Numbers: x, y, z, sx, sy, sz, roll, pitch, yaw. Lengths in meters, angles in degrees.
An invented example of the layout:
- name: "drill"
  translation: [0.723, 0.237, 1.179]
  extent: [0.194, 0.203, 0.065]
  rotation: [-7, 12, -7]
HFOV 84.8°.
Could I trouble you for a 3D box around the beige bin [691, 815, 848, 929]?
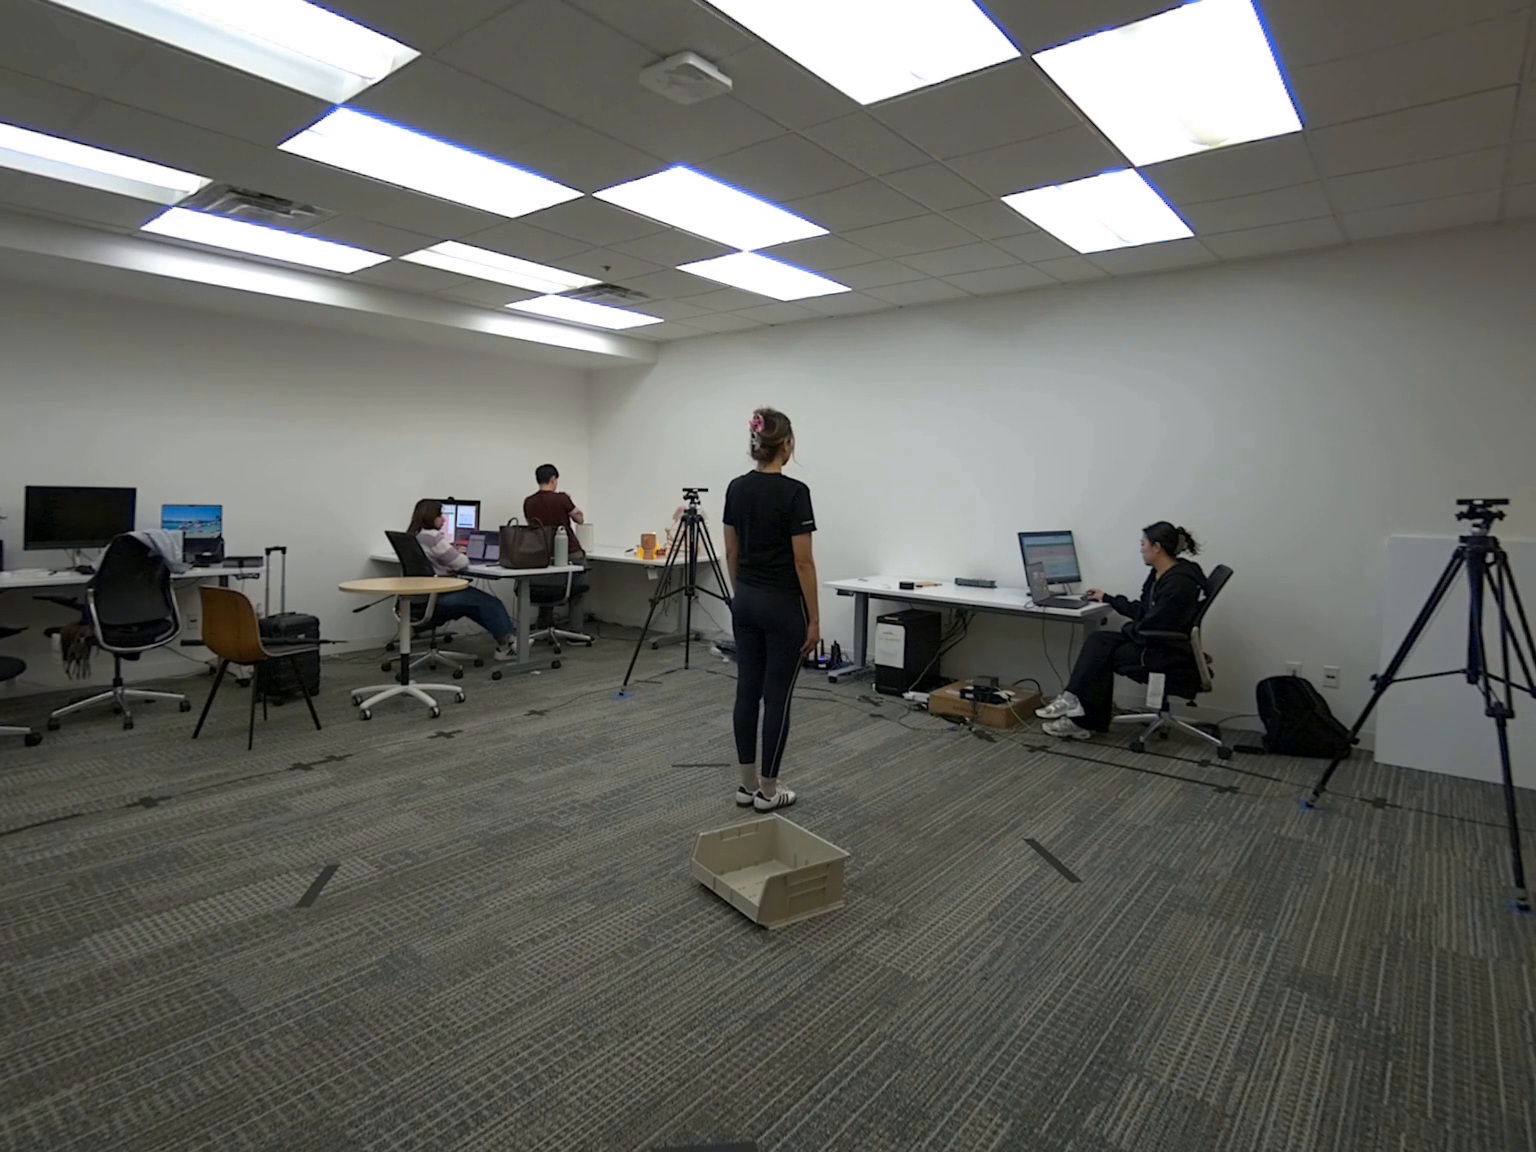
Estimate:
- name: "beige bin"
  translation: [-0.007, 1.002, 2.921]
  extent: [0.366, 0.188, 0.436]
  rotation: [-1, 5, -35]
